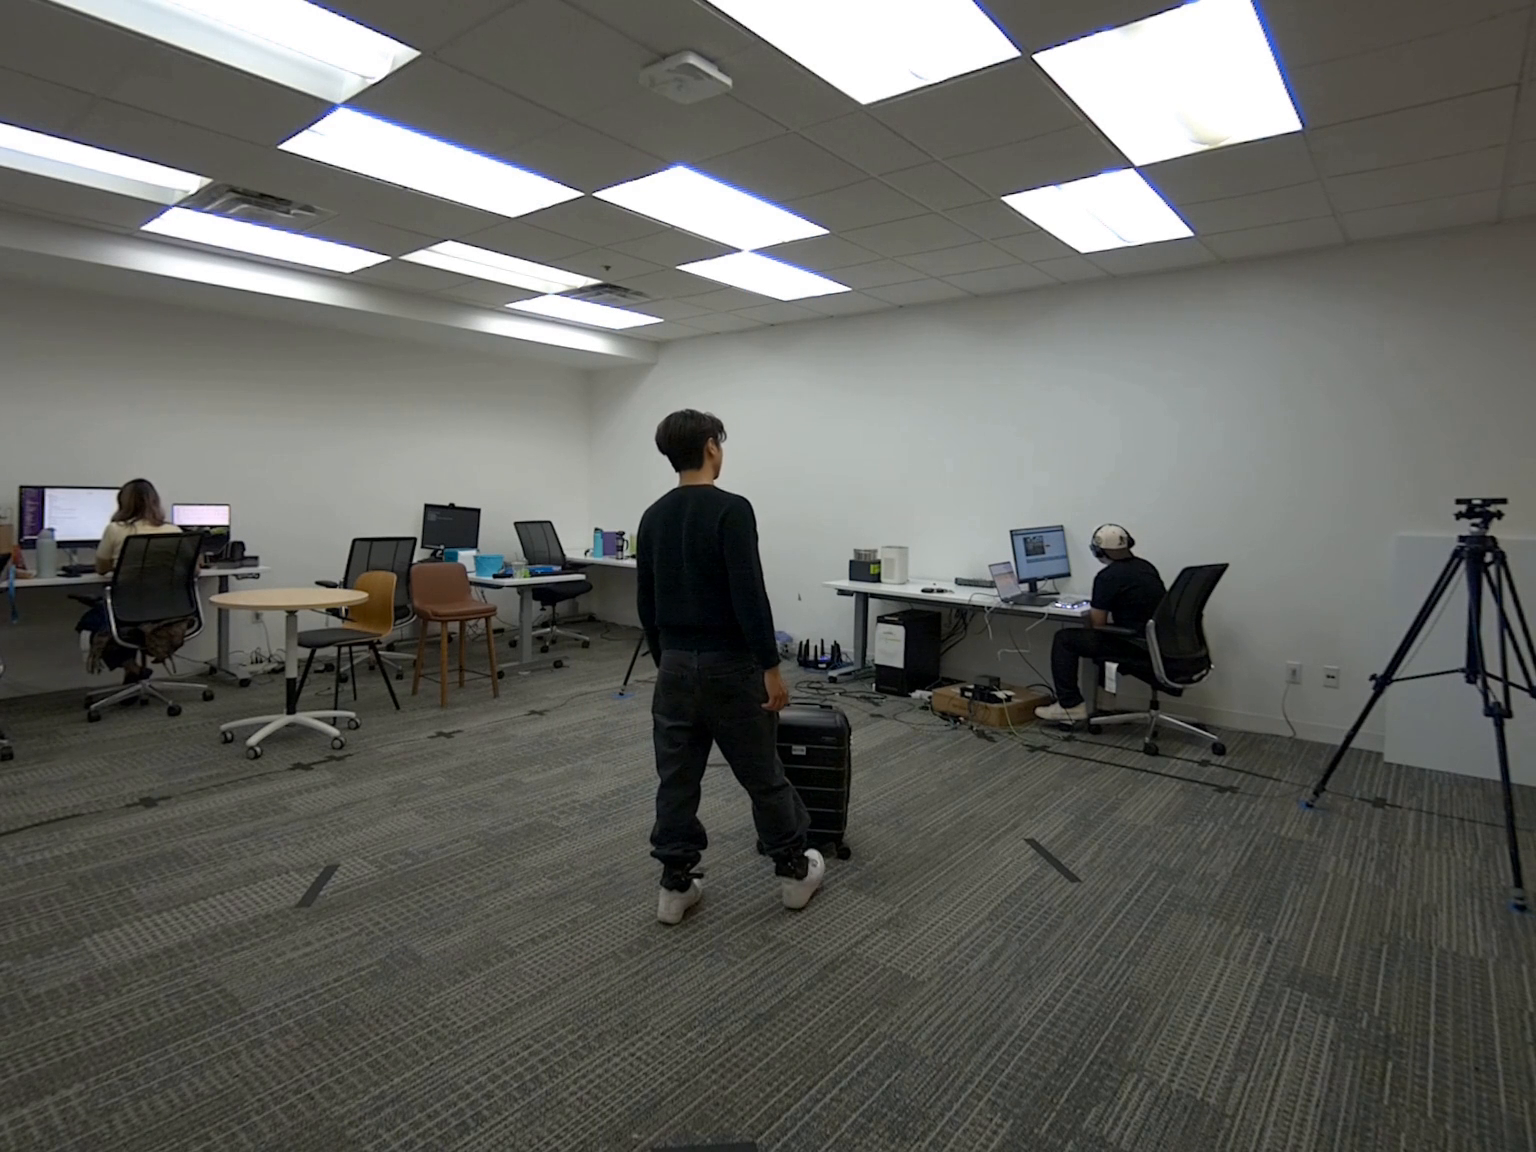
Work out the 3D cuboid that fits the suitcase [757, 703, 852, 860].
[{"bbox_3d":[0.131,0.775,3.345,0.378,0.547,0.247,3,5,7],"label":"suitcase"}]
